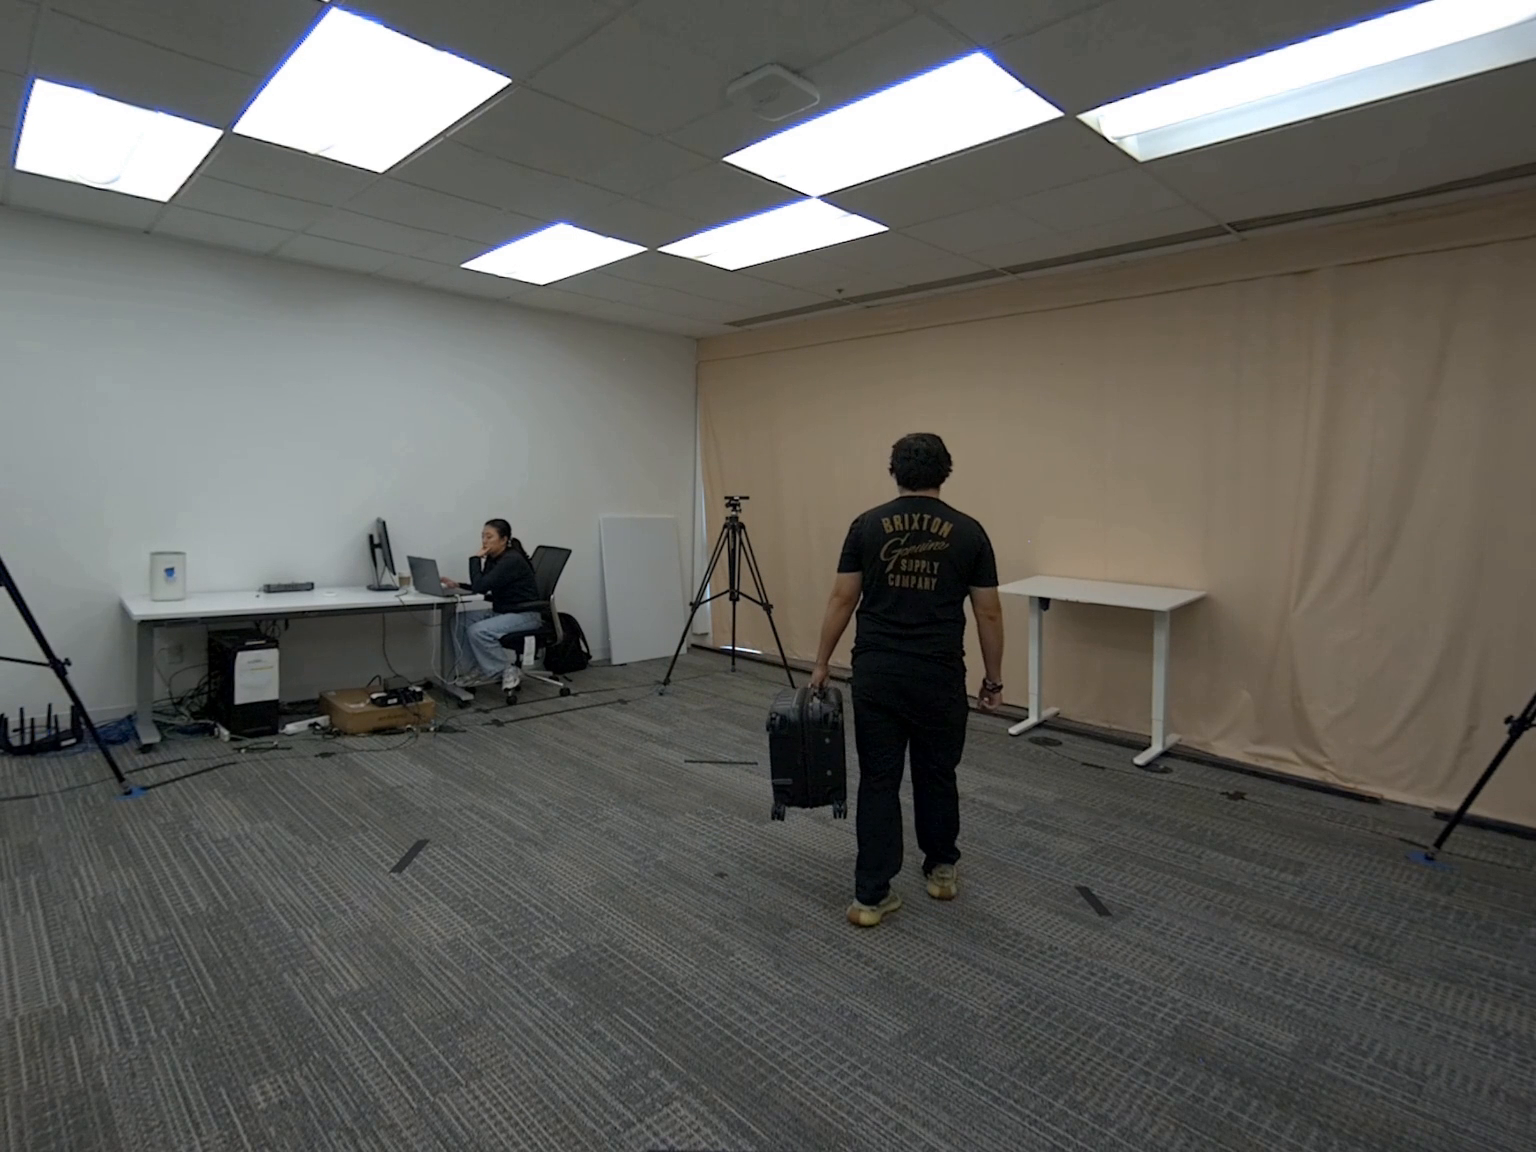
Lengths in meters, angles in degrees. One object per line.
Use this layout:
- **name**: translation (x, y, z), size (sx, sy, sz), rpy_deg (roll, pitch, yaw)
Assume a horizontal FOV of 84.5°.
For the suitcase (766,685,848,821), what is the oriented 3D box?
- **suitcase**: translation (0.164, 0.591, 3.237), size (0.258, 0.384, 0.975), rpy_deg (-2, 1, 4)
